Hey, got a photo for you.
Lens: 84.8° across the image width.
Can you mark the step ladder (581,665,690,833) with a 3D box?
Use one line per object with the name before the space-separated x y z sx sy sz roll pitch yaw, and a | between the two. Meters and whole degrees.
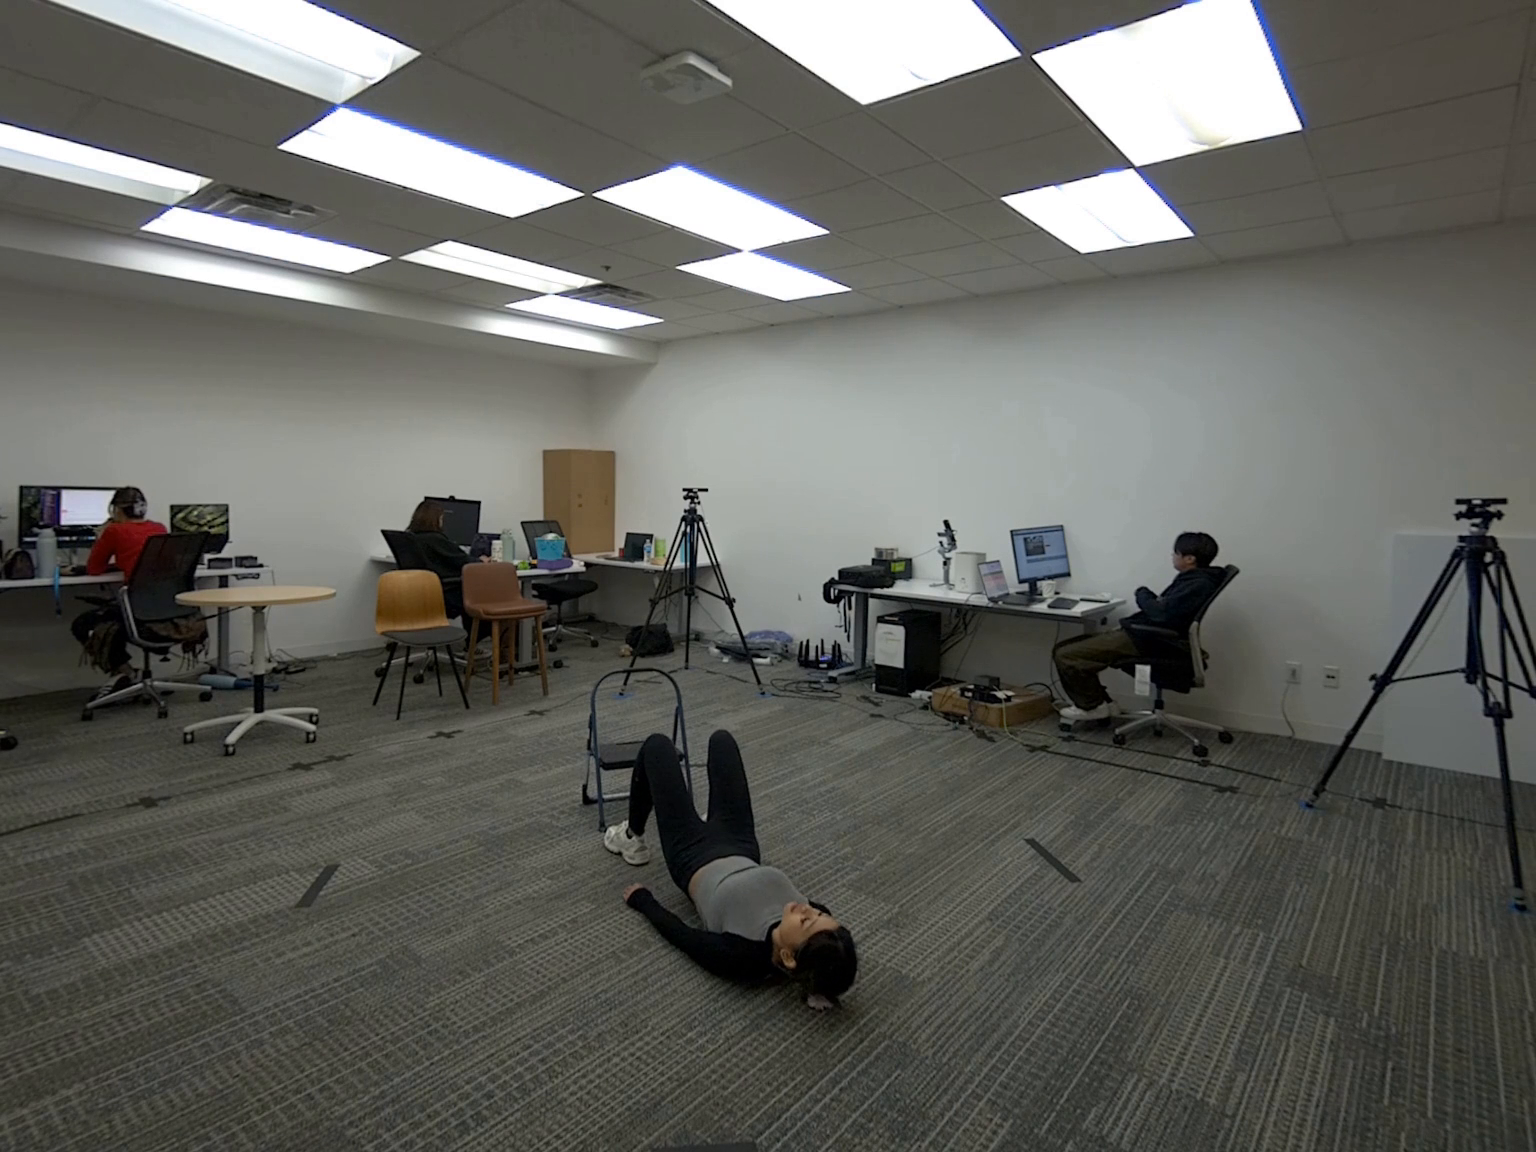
step ladder | -0.570 0.709 3.653 0.421 0.604 0.358 -1 4 -25
